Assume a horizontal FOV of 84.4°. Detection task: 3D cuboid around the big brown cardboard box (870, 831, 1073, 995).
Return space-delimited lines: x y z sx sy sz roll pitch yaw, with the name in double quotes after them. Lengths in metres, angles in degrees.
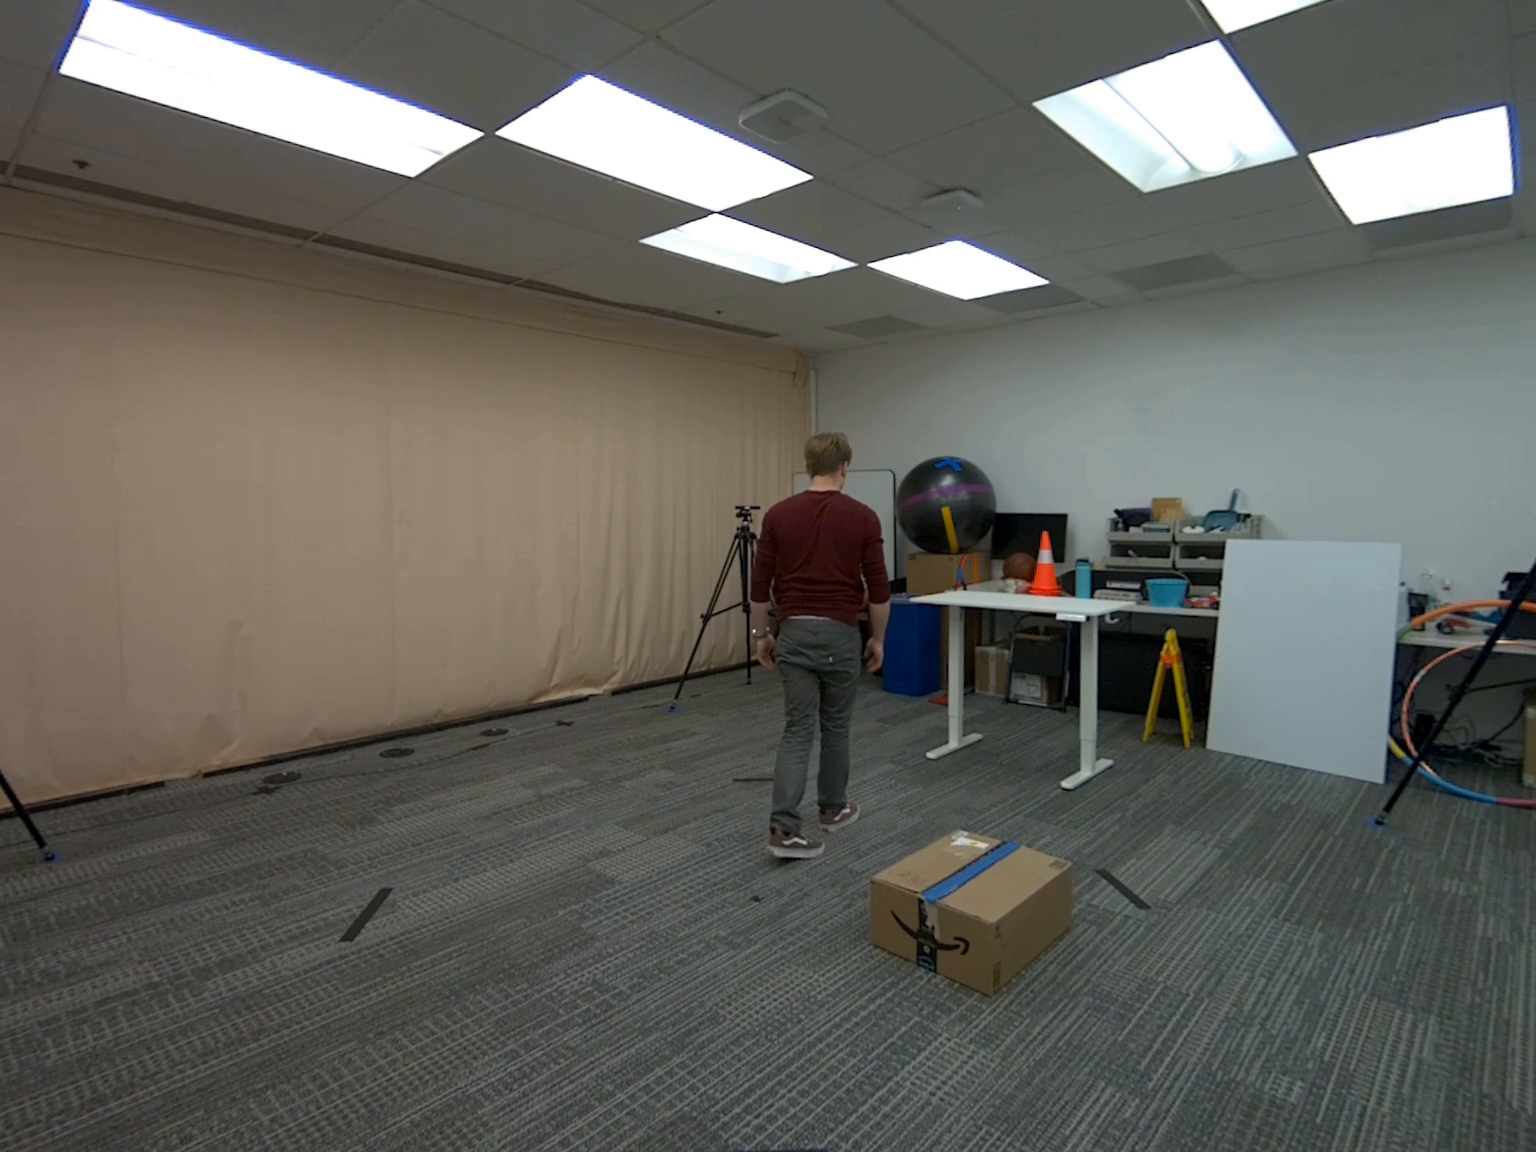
0.672 1.055 2.718 0.431 0.232 0.571 4 7 42 "big brown cardboard box"
